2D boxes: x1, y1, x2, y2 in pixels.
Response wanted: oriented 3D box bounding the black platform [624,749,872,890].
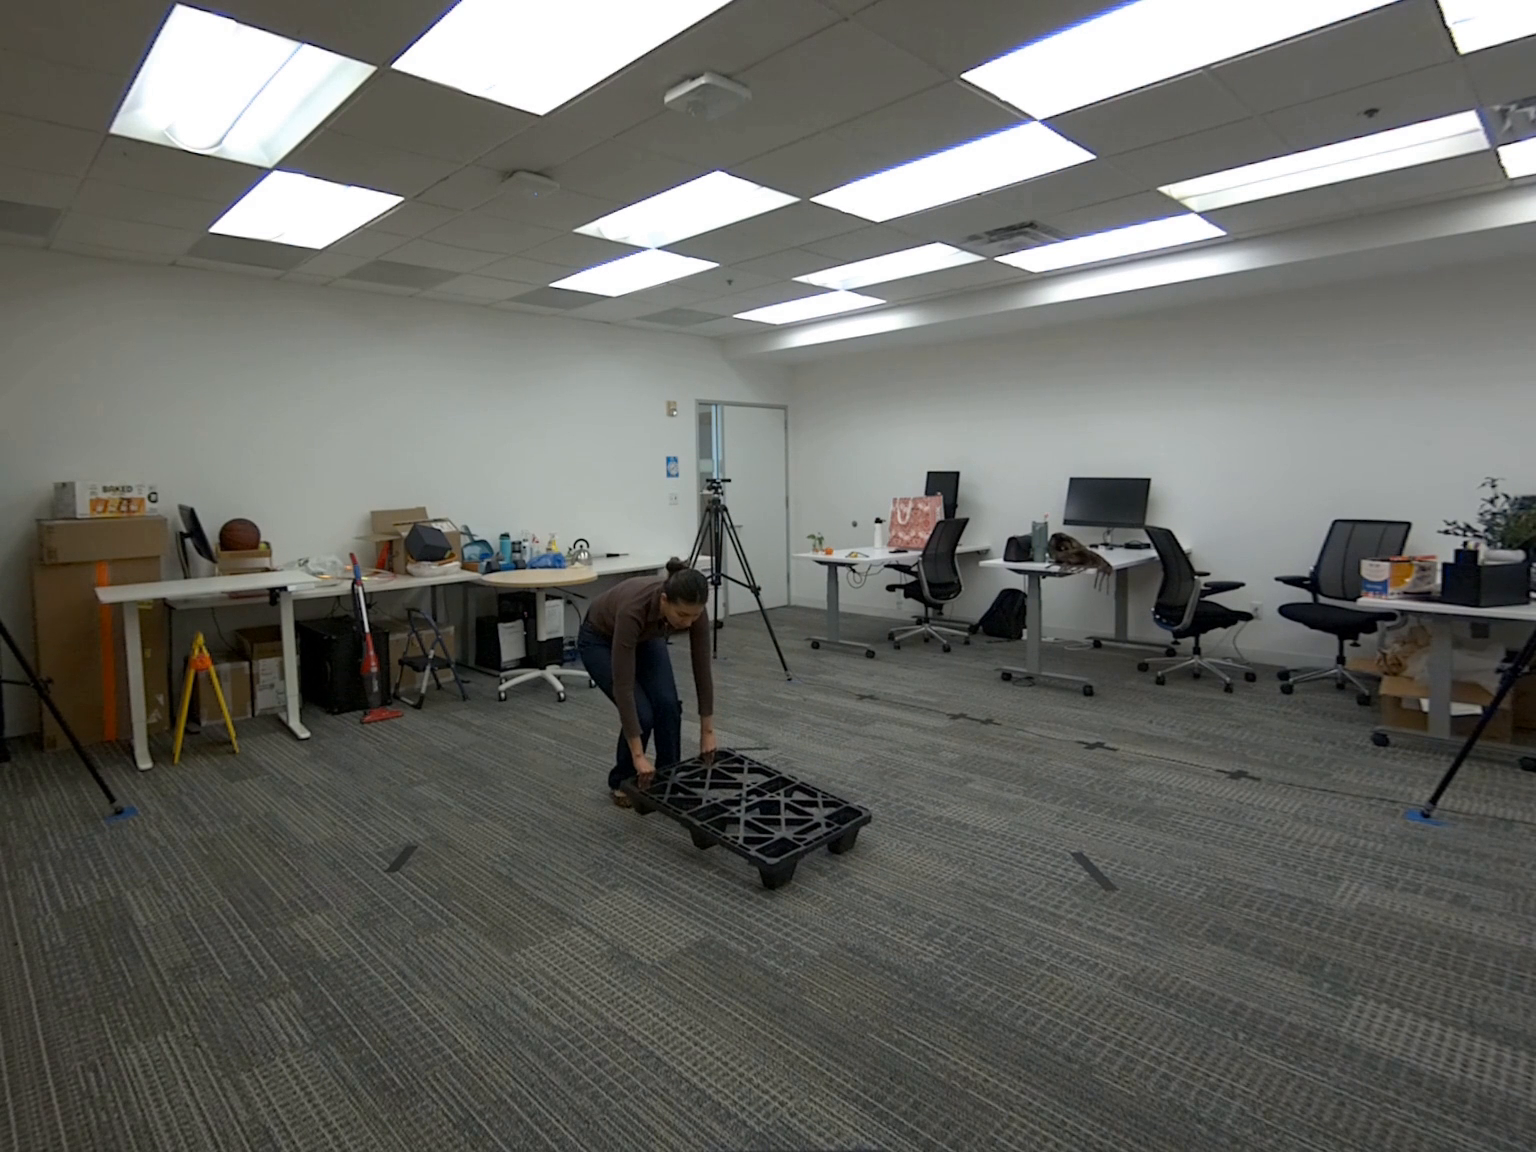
[{"bbox_3d":[-0.095,0.918,3.309,0.833,0.142,0.589,13,13,41],"label":"black platform"}]
